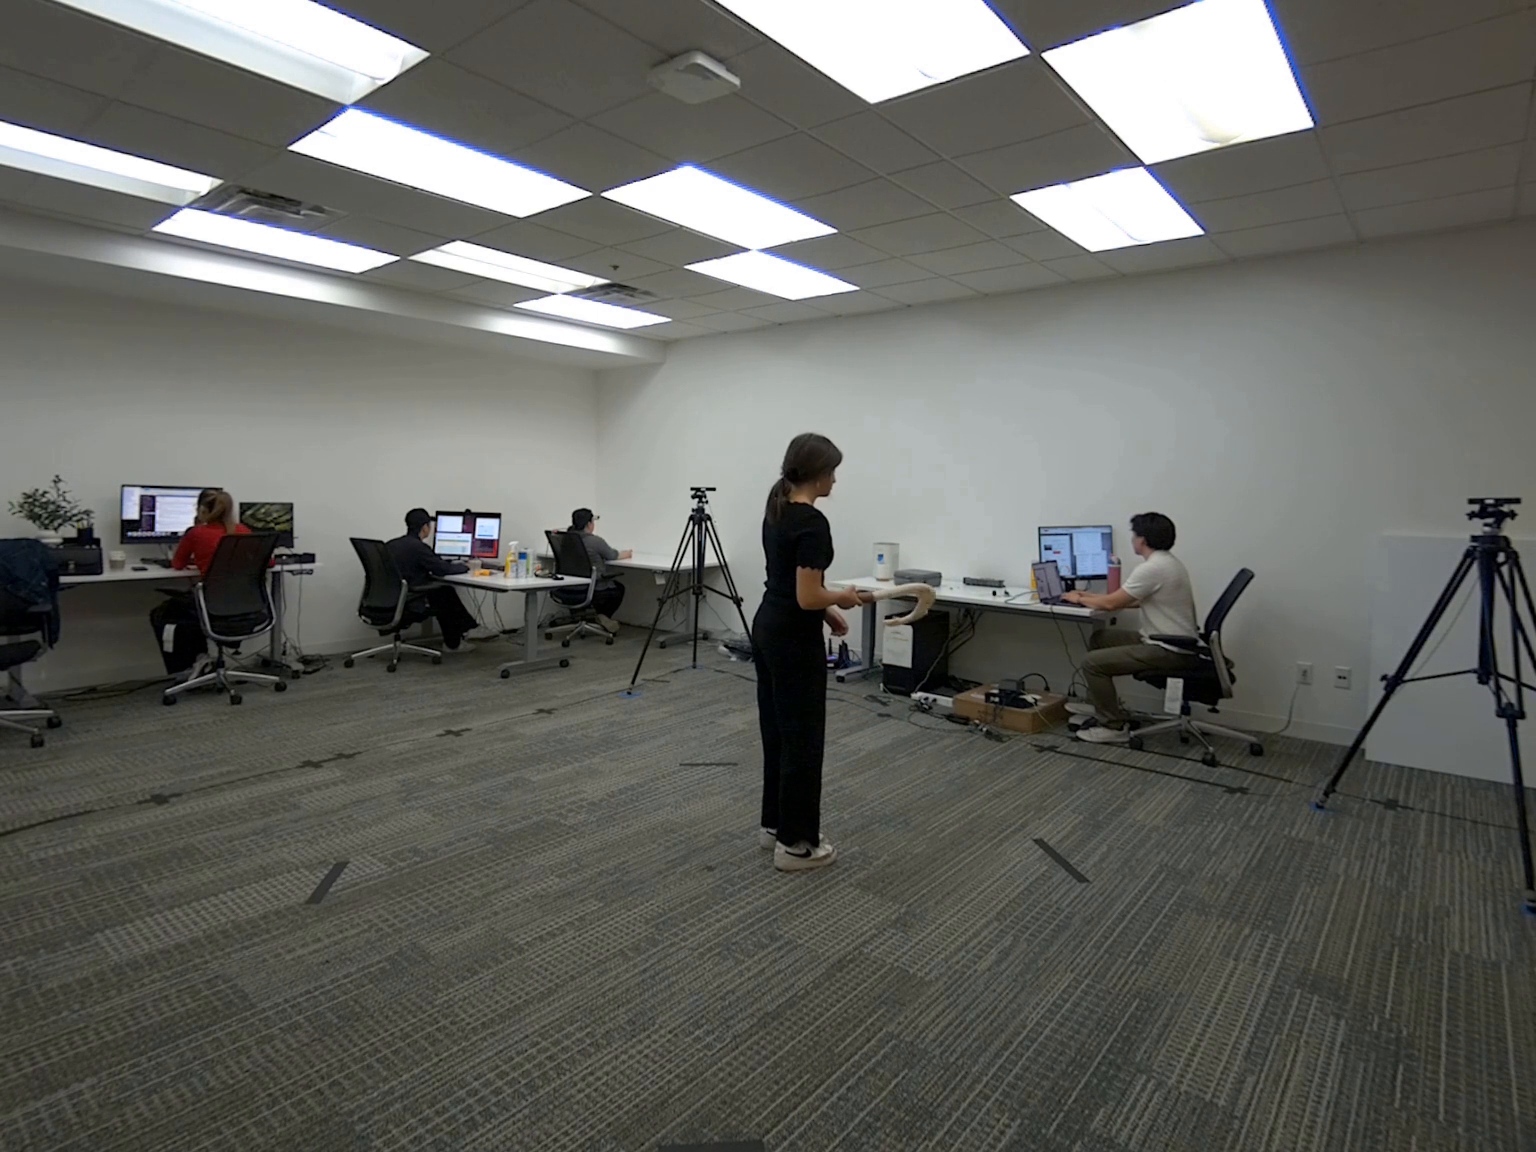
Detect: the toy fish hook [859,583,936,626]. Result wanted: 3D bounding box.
[{"bbox_3d":[0.421,0.125,3.313,0.495,0.221,0.050,1,34,-24],"label":"toy fish hook"}]
